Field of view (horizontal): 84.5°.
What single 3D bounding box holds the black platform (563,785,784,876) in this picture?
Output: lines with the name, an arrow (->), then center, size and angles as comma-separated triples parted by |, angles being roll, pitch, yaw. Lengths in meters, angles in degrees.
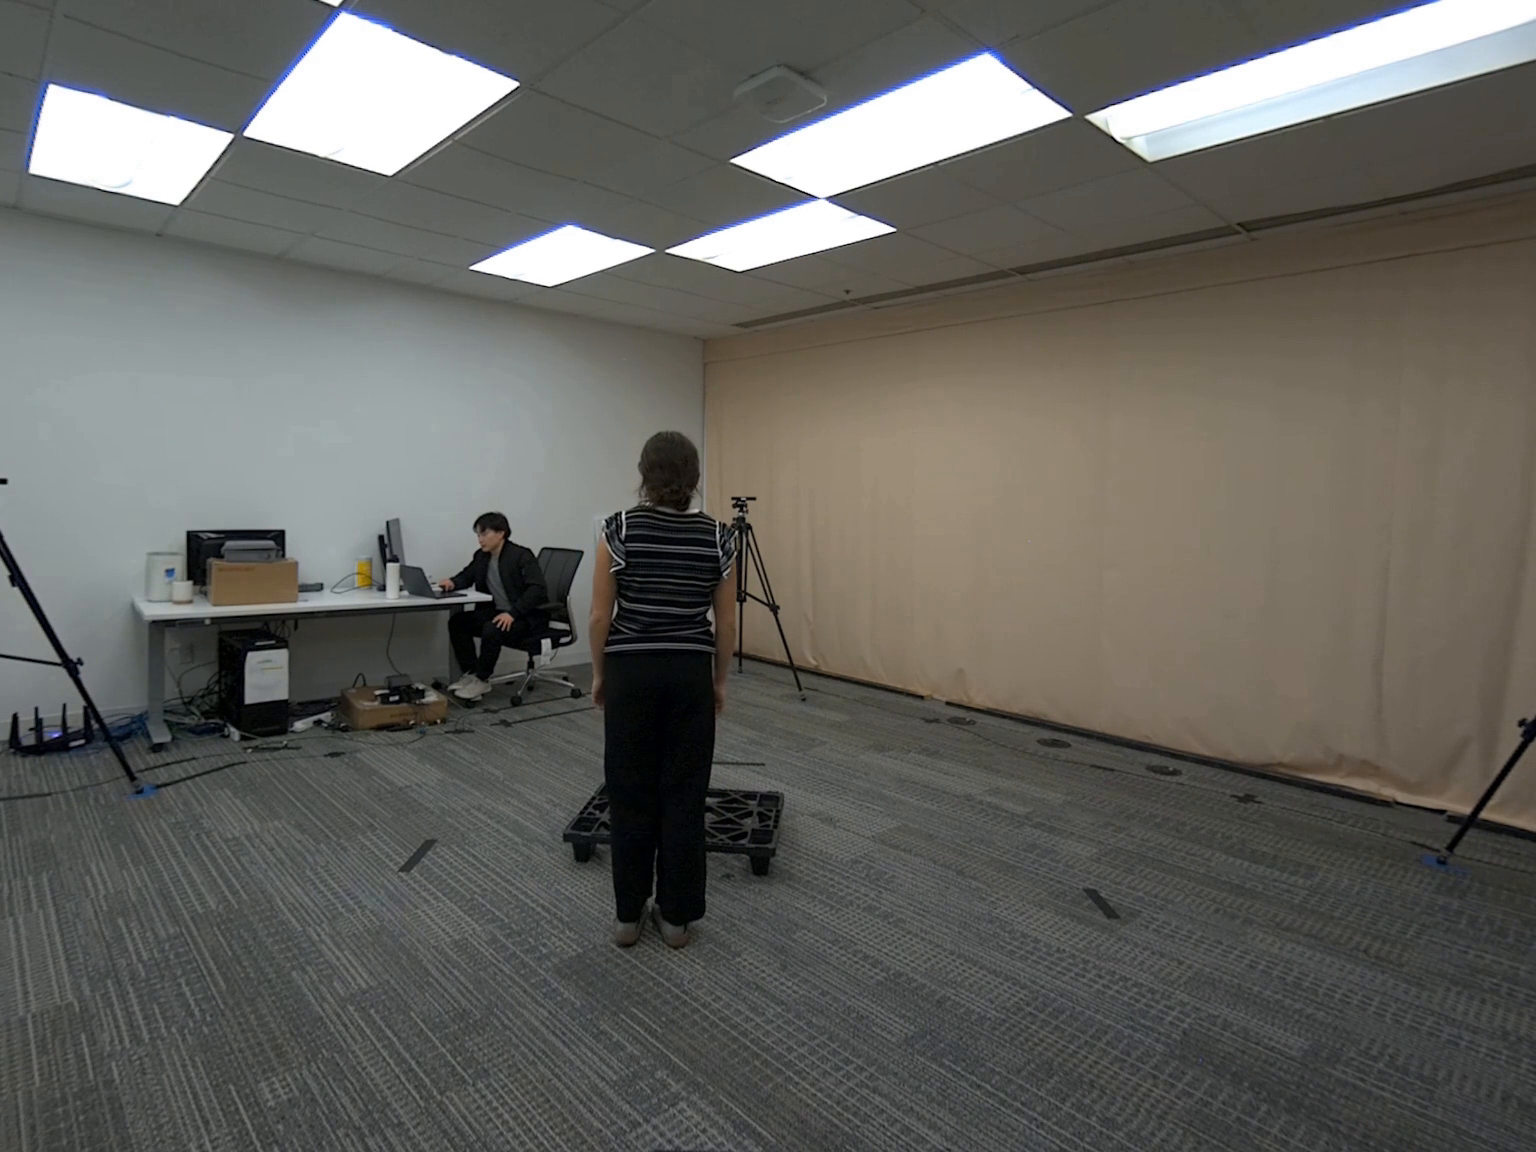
black platform -> -0.354, 1.010, 3.379 | 0.810, 0.143, 0.604 | 2, 6, 6
